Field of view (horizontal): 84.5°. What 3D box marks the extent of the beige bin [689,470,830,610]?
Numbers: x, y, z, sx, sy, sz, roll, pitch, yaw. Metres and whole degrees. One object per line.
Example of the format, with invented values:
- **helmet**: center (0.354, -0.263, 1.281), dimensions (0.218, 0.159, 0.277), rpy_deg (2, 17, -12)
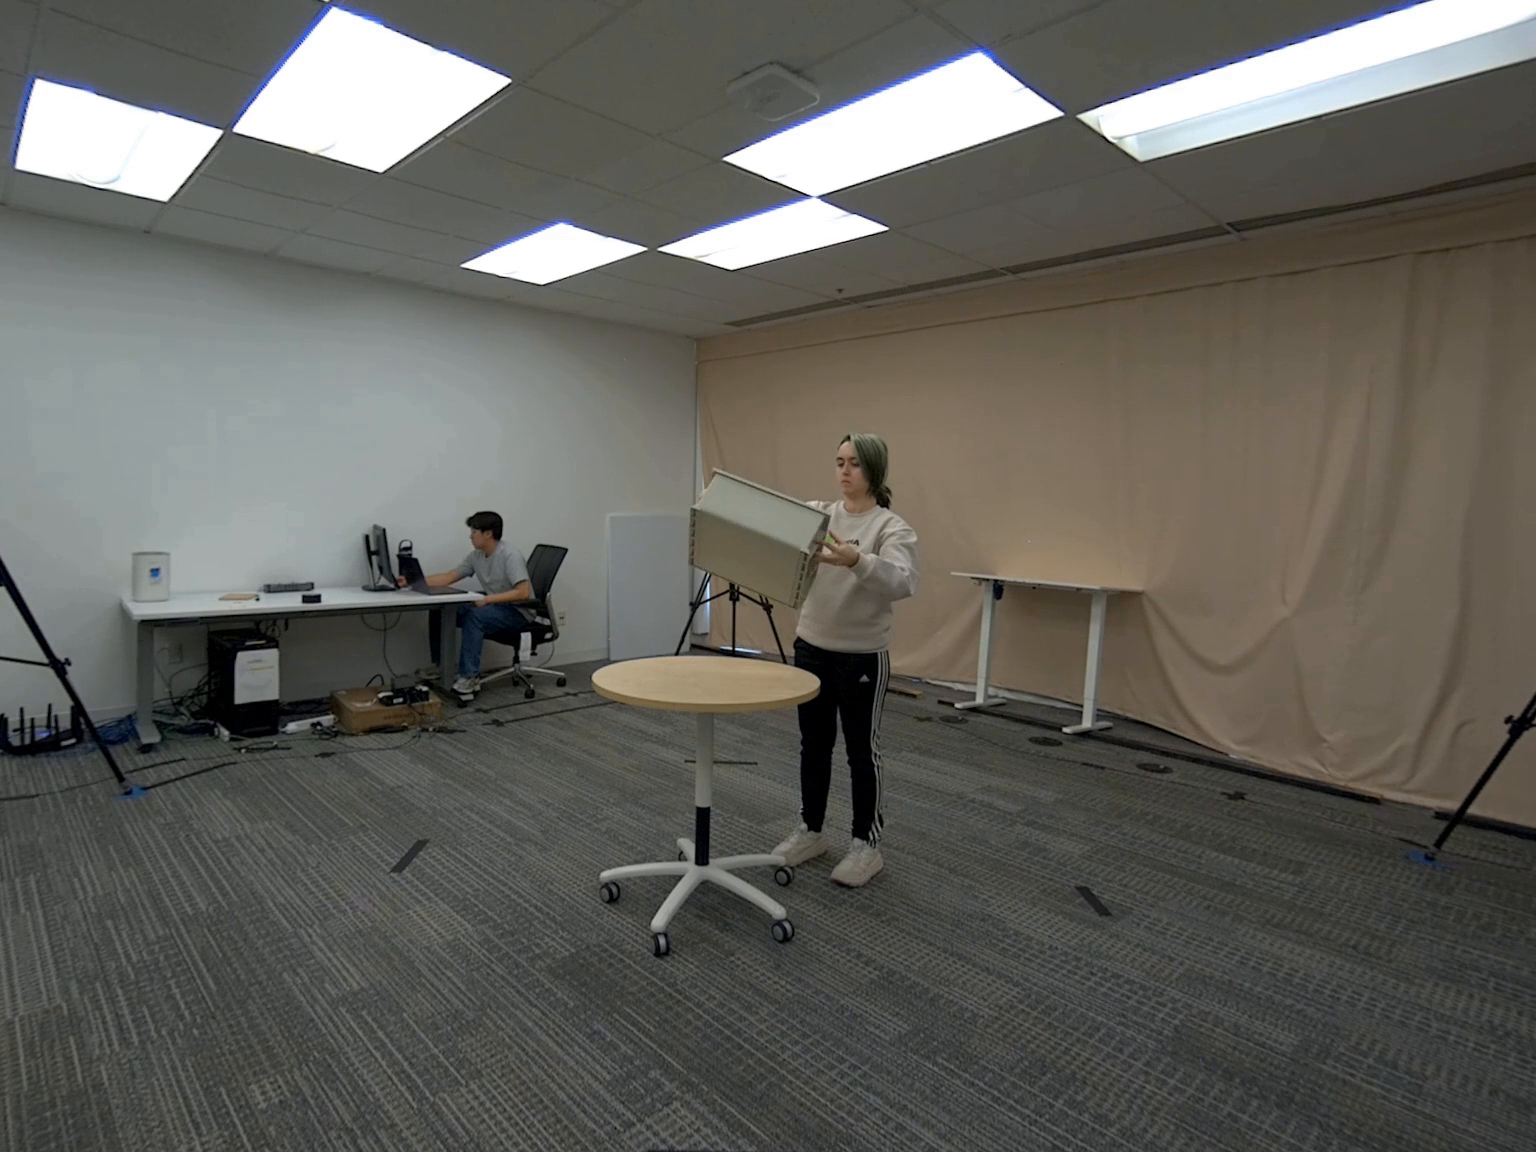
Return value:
- **beige bin**: center (-0.051, -0.100, 2.829), dimensions (0.428, 0.190, 0.370), rpy_deg (24, -34, 12)
